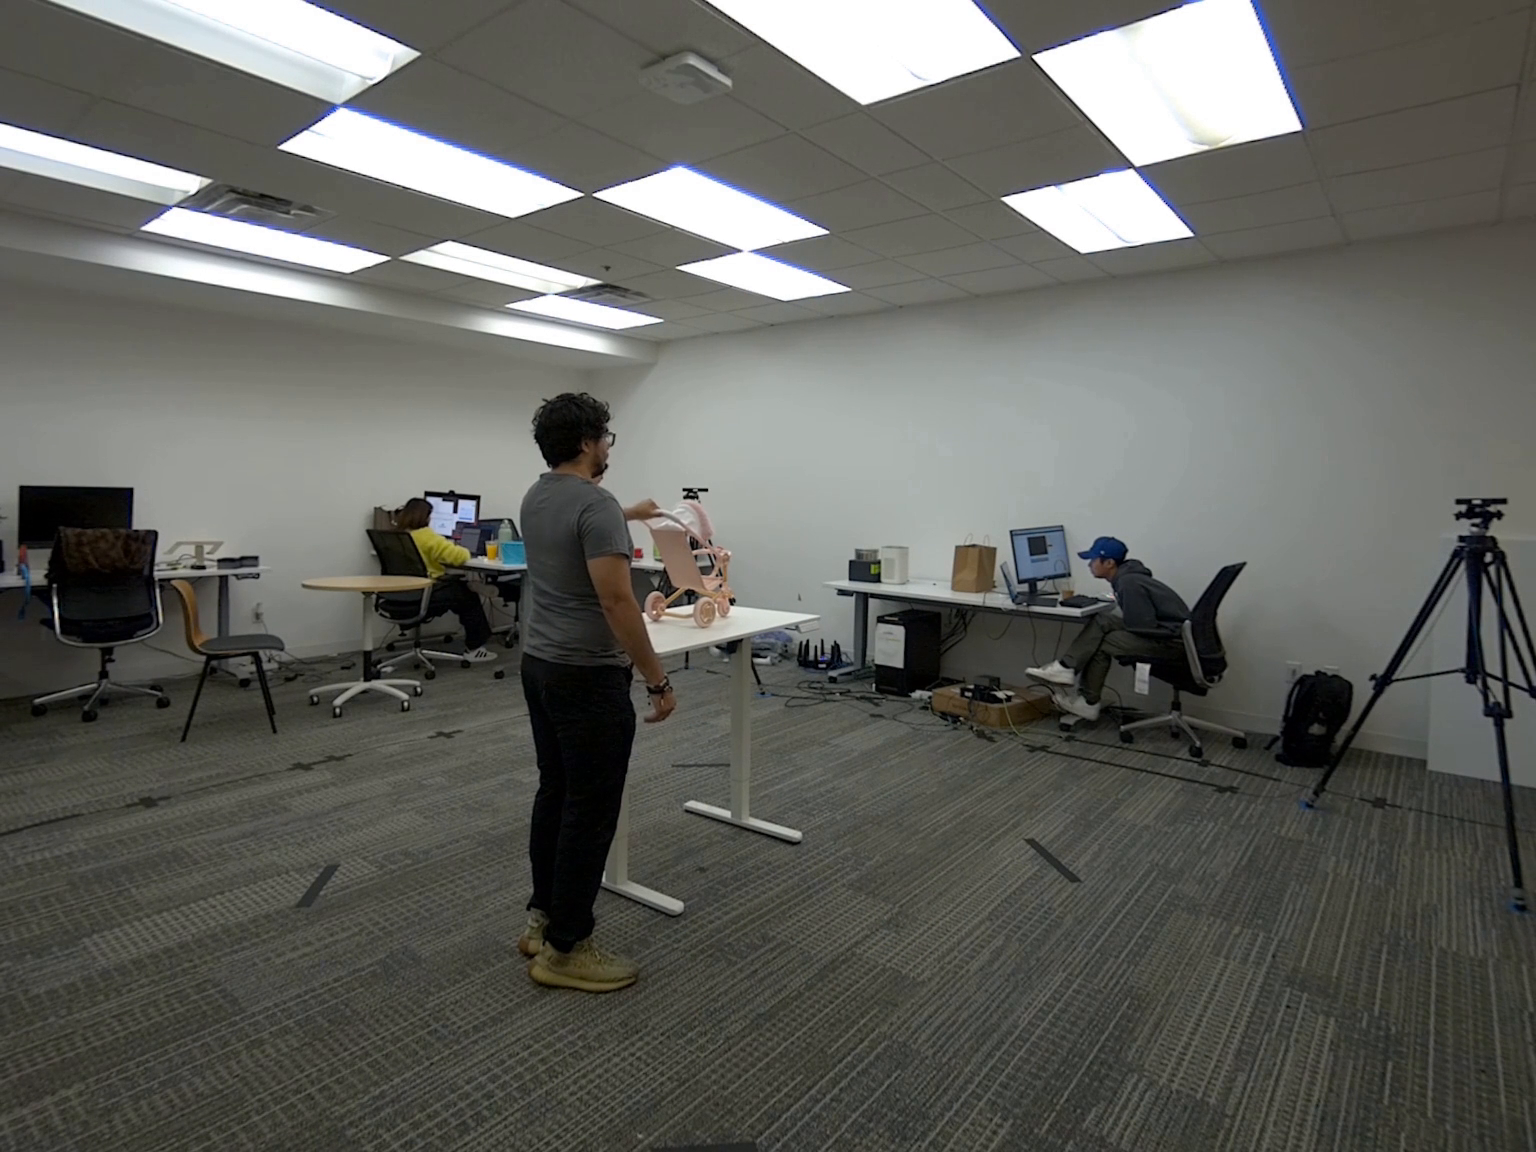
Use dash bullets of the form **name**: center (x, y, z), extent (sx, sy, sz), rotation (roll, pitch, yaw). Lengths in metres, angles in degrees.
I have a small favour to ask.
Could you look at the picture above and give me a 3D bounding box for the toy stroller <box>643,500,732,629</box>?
- **toy stroller**: center (-0.301, -0.052, 3.219), extent (0.291, 0.526, 0.335), rotation (5, 21, 42)
